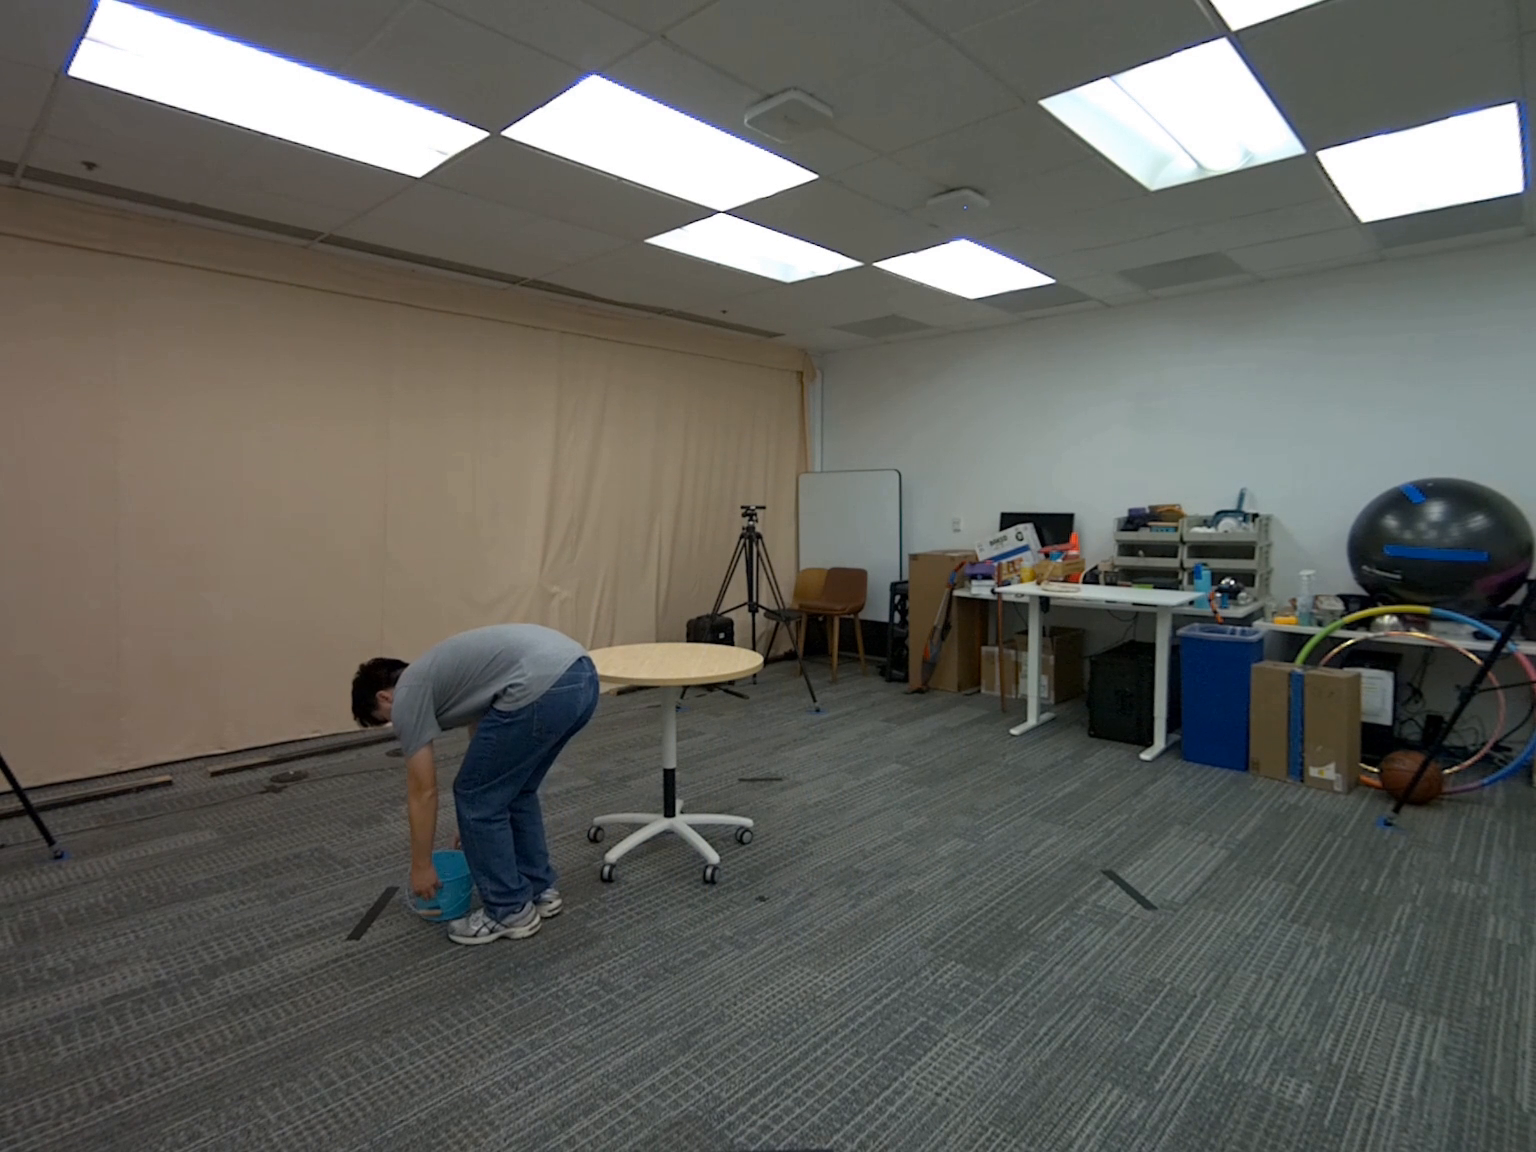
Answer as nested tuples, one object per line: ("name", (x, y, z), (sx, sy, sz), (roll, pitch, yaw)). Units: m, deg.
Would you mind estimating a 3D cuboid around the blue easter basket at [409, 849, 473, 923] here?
("blue easter basket", (-1.125, 1.075, 2.912), (0.243, 0.155, 0.244), (1, 5, -2))
